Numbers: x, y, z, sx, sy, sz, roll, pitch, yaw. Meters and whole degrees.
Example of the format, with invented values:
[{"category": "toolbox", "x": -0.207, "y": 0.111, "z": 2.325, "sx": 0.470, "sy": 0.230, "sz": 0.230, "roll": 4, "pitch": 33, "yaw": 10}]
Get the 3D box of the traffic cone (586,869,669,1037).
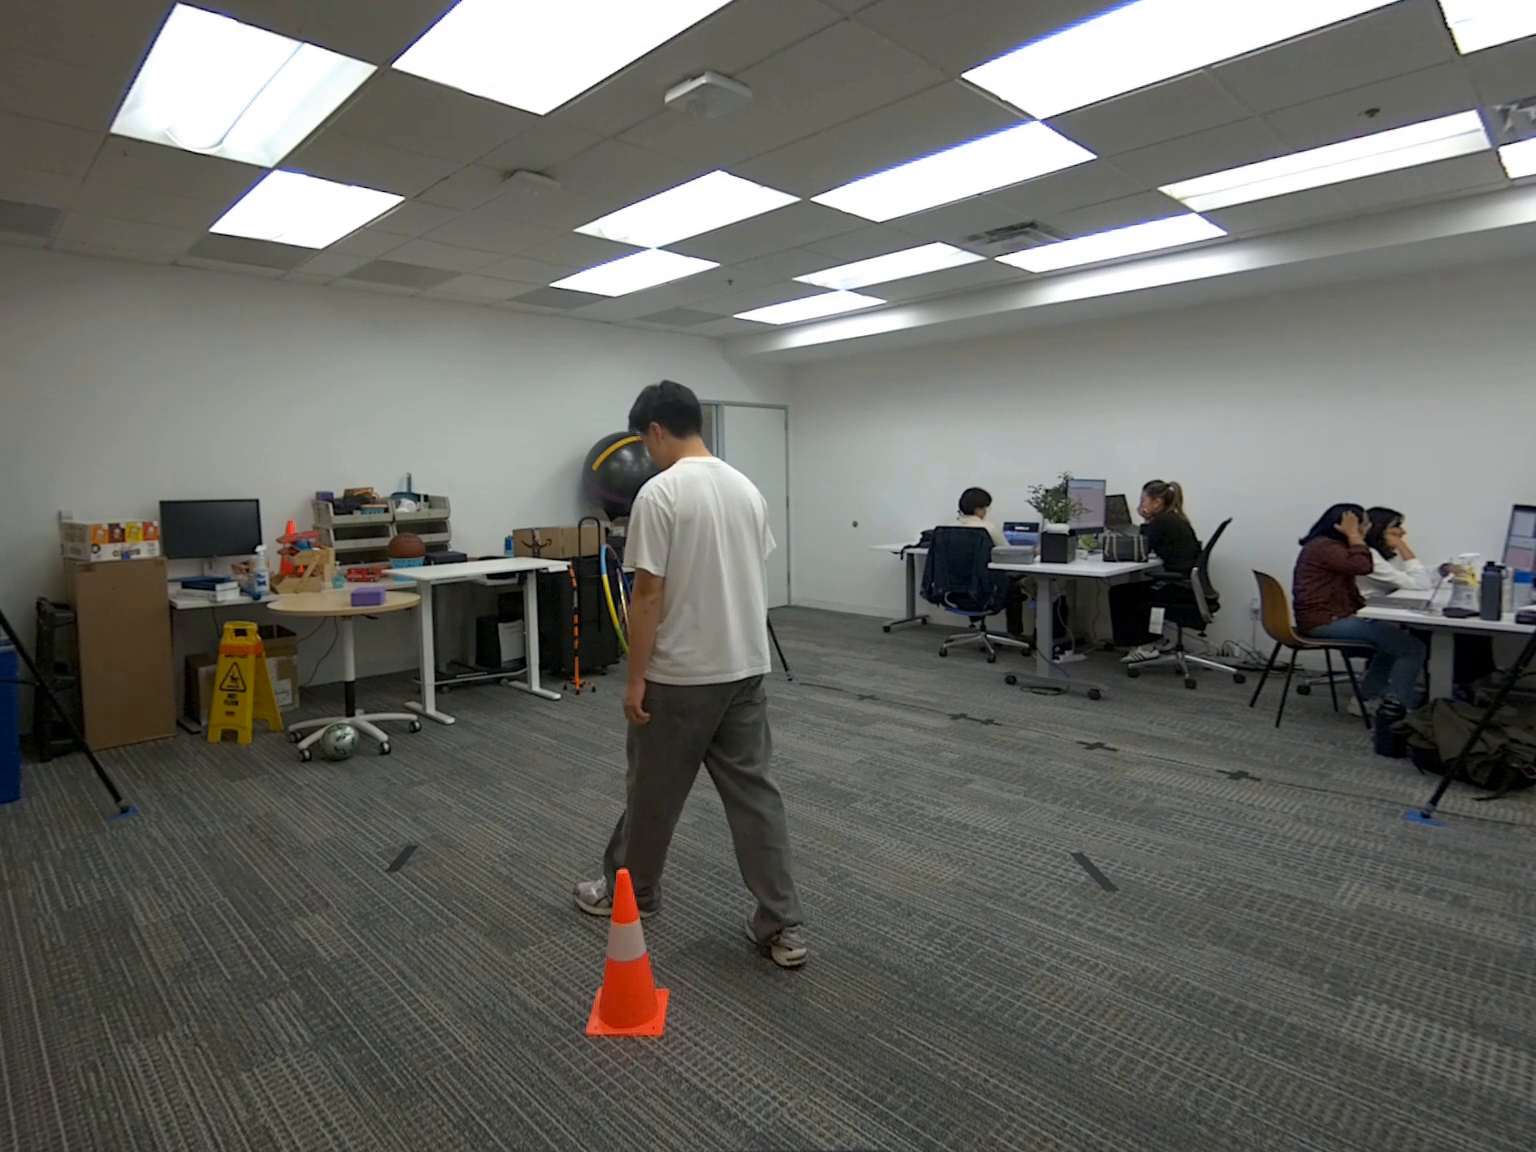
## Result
[{"category": "traffic cone", "x": -0.367, "y": 0.973, "z": 2.244, "sx": 0.202, "sy": 0.382, "sz": 0.206, "roll": -3, "pitch": 4, "yaw": -5}]
